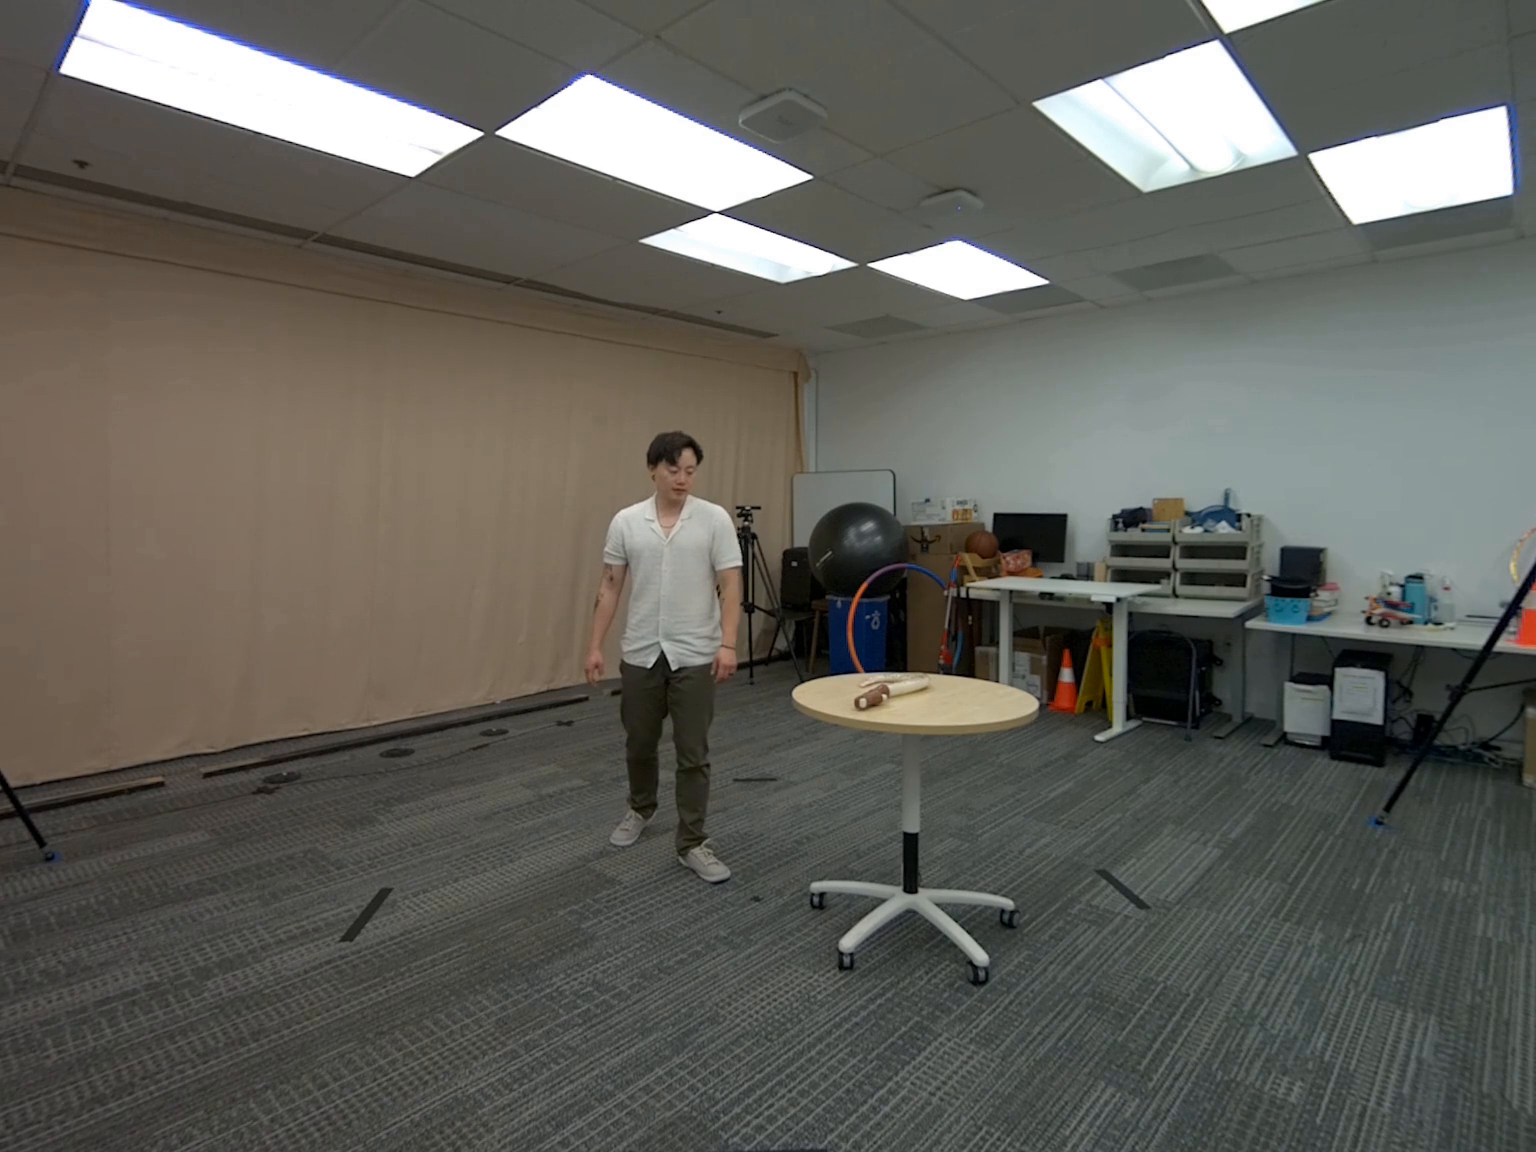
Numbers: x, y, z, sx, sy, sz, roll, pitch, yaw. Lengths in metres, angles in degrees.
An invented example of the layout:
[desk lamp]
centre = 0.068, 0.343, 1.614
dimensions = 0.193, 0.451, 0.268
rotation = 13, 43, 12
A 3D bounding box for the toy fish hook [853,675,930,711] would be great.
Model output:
[toy fish hook]
centre = 0.364, 0.372, 2.716
dimensions = 0.231, 0.048, 0.492
rotation = -6, 0, 33
